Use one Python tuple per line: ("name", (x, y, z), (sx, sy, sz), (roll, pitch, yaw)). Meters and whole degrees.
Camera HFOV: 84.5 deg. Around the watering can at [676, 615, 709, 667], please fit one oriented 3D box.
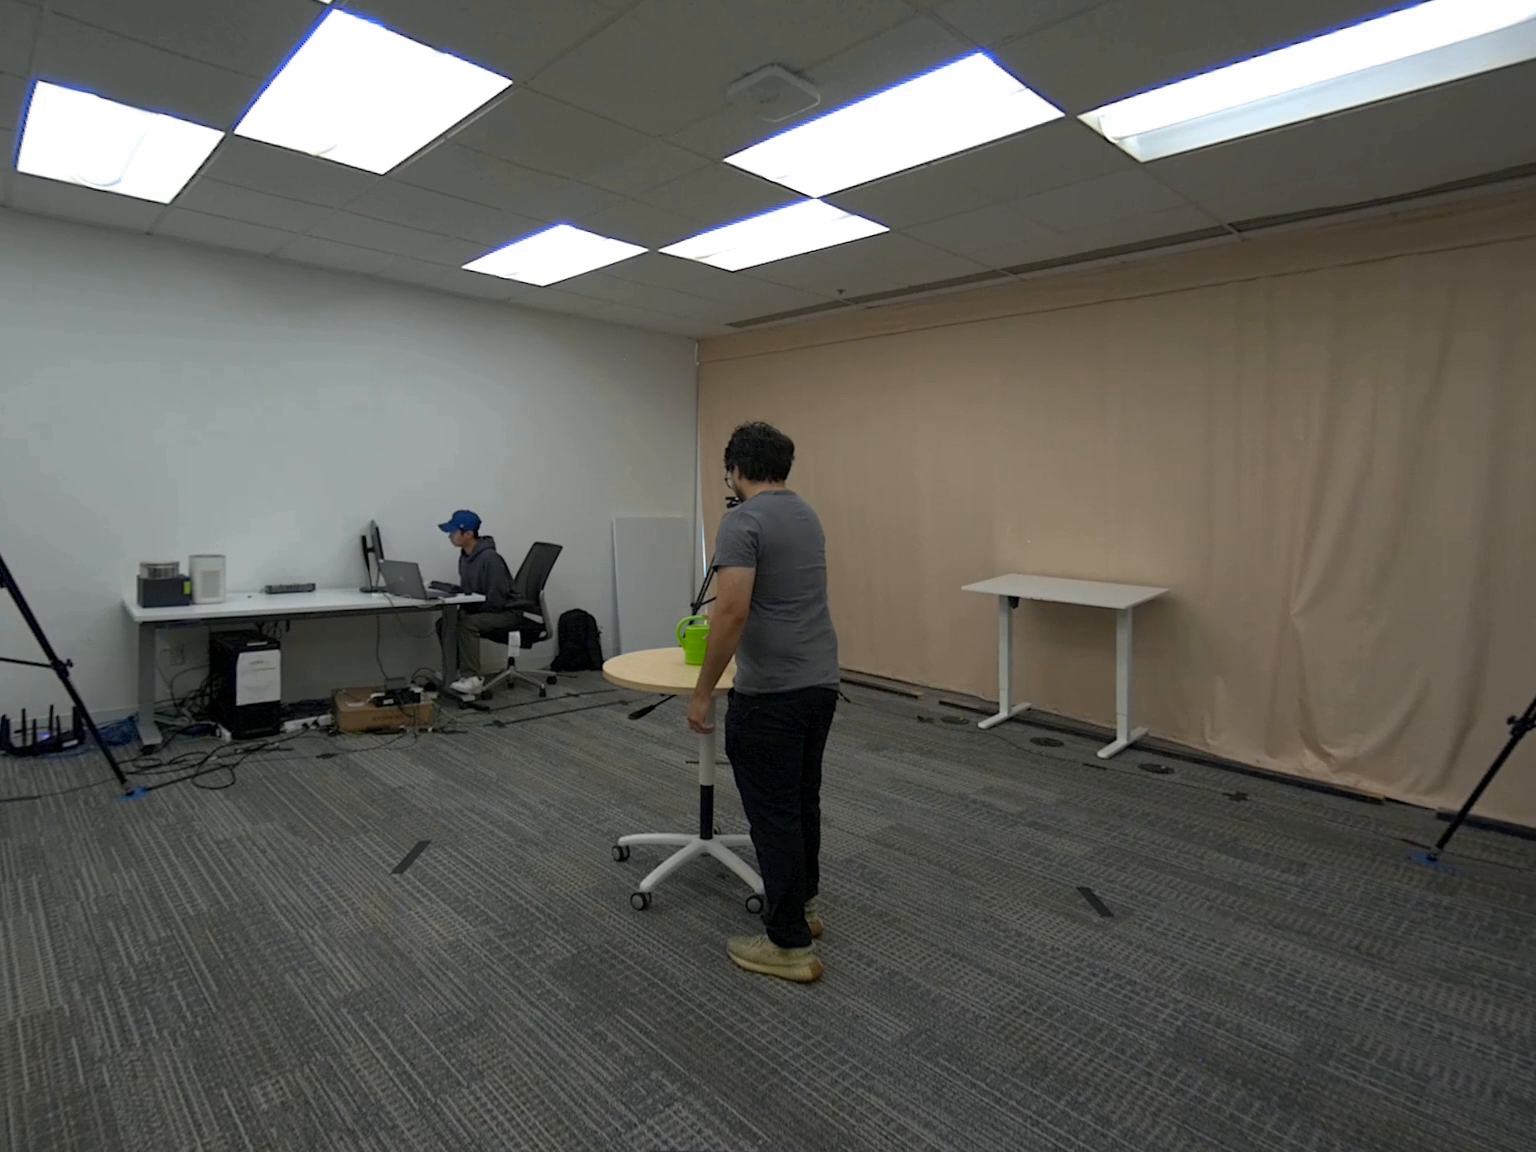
("watering can", (-0.208, 0.240, 3.094), (0.279, 0.177, 0.098), (0, 1, 4))
